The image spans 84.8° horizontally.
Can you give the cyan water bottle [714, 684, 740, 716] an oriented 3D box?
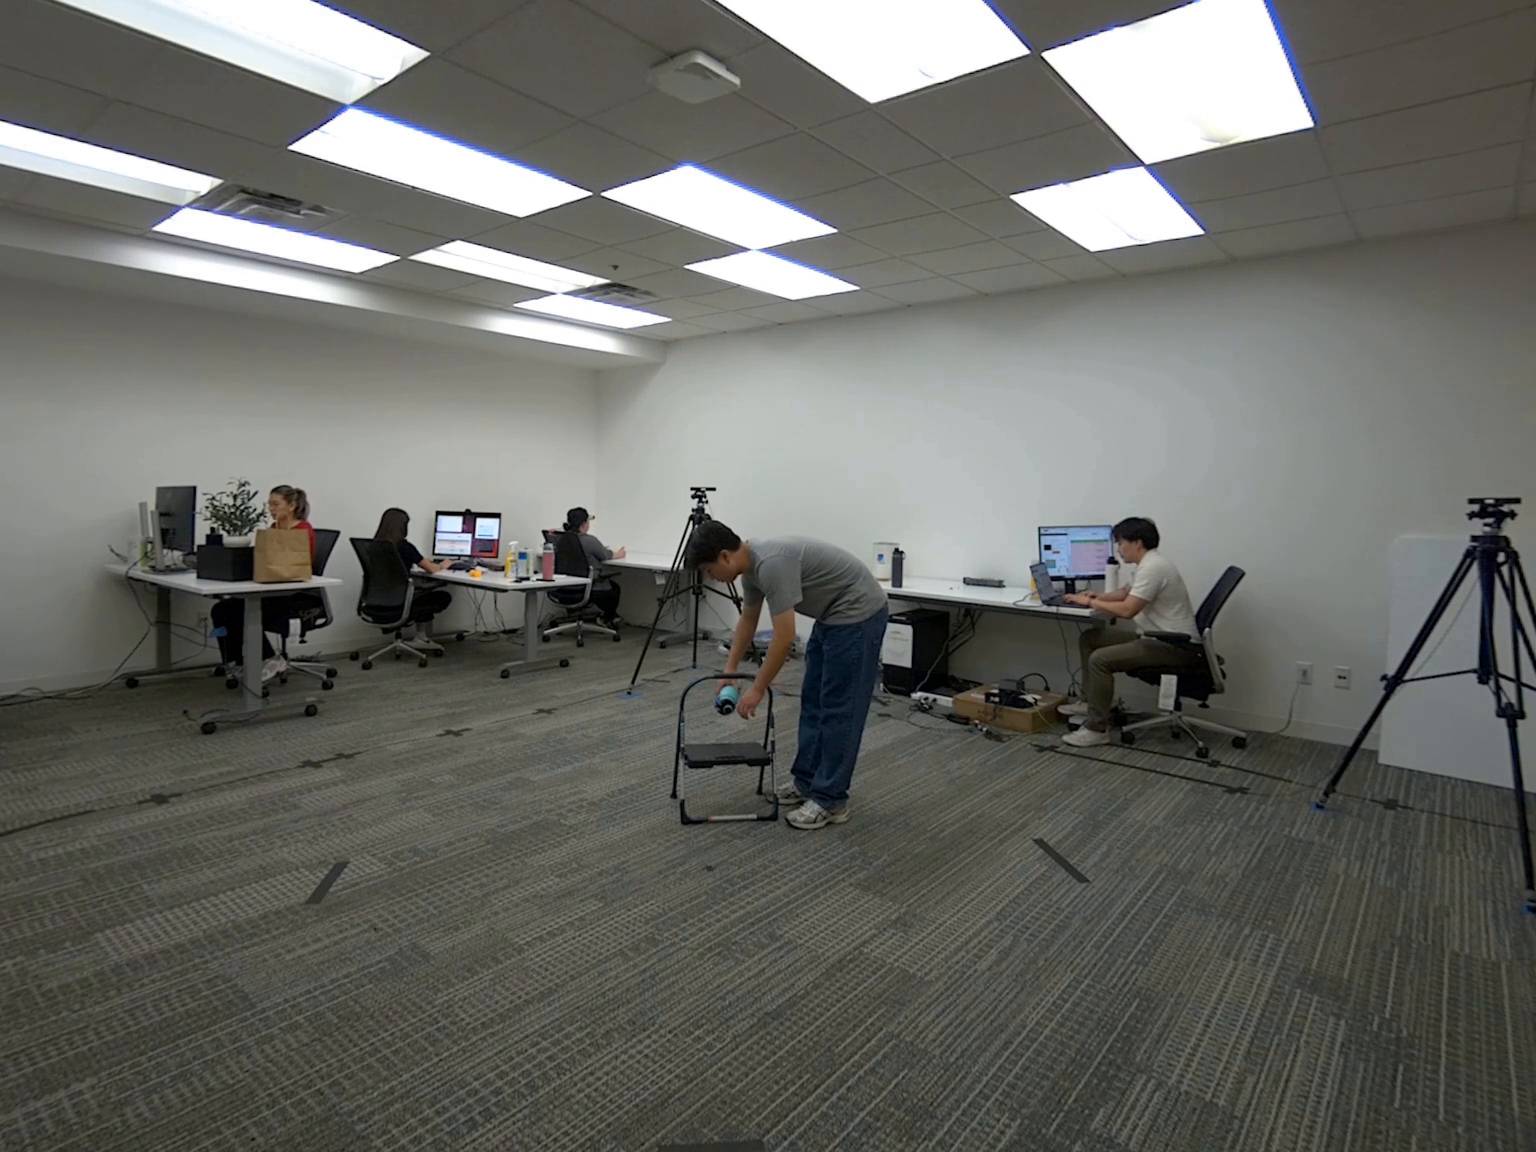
[{"bbox_3d":[-0.181,0.531,3.826,0.093,0.091,0.285,1,16,6],"label":"cyan water bottle"}]
